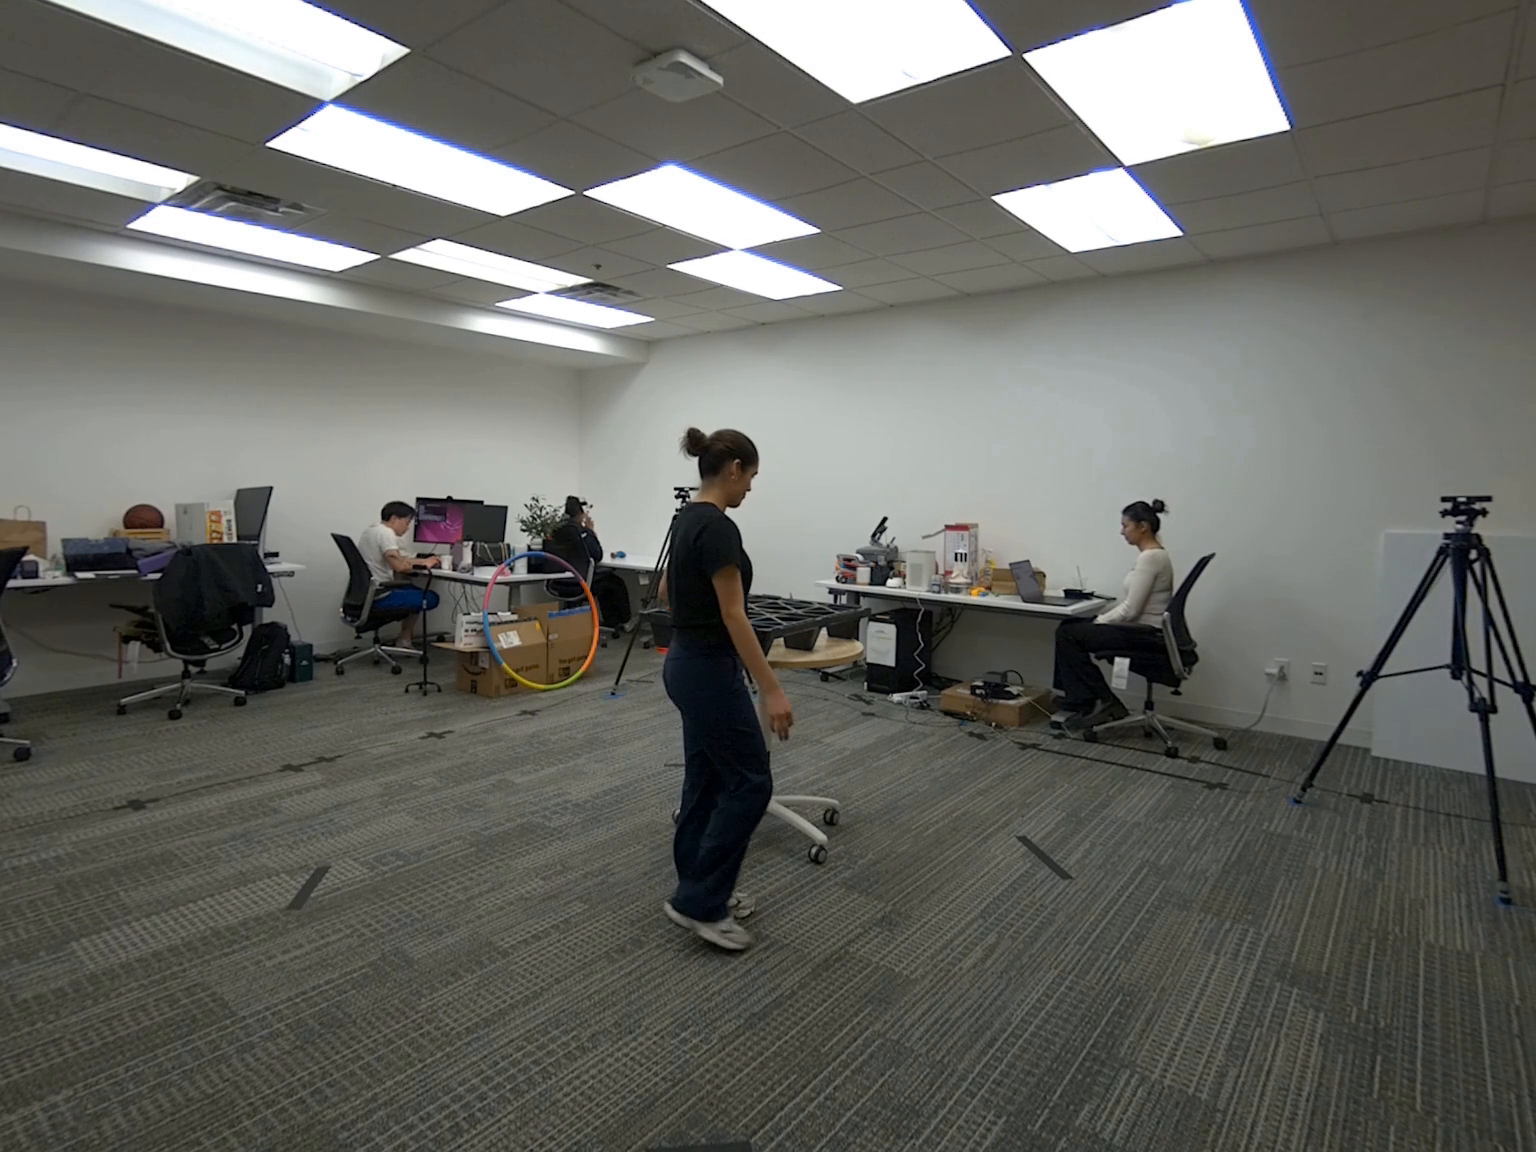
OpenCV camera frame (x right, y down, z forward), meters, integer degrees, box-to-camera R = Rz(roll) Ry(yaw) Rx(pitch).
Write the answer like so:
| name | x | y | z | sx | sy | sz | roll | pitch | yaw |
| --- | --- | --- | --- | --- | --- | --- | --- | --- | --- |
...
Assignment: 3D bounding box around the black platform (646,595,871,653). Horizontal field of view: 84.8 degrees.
| name | x | y | z | sx | sy | sz | roll | pitch | yaw |
| --- | --- | --- | --- | --- | --- | --- | --- | --- | --- |
| black platform | -0.009 | 0.197 | 3.400 | 0.625 | 0.143 | 0.783 | 5 | 8 | 36 |
